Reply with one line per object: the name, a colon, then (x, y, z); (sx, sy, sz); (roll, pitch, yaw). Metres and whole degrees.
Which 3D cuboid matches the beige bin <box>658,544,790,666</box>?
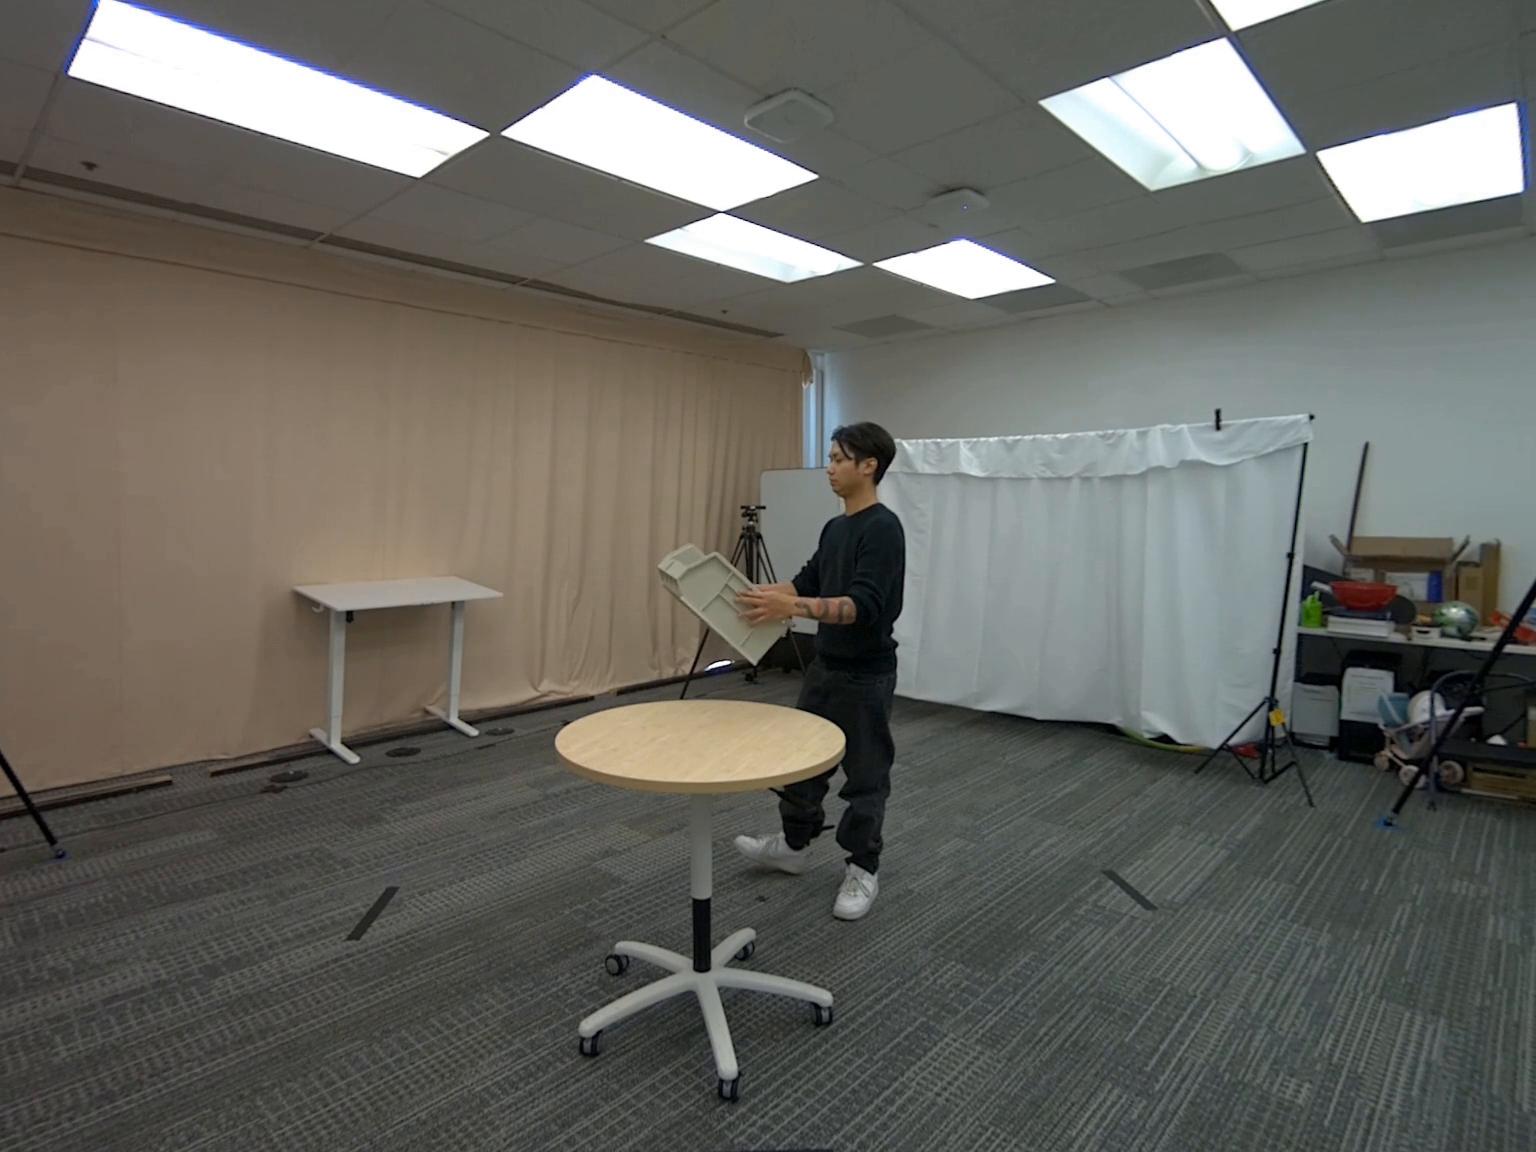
beige bin: (-0.161, 0.075, 2.738); (0.372, 0.188, 0.430); (44, -7, -14)
